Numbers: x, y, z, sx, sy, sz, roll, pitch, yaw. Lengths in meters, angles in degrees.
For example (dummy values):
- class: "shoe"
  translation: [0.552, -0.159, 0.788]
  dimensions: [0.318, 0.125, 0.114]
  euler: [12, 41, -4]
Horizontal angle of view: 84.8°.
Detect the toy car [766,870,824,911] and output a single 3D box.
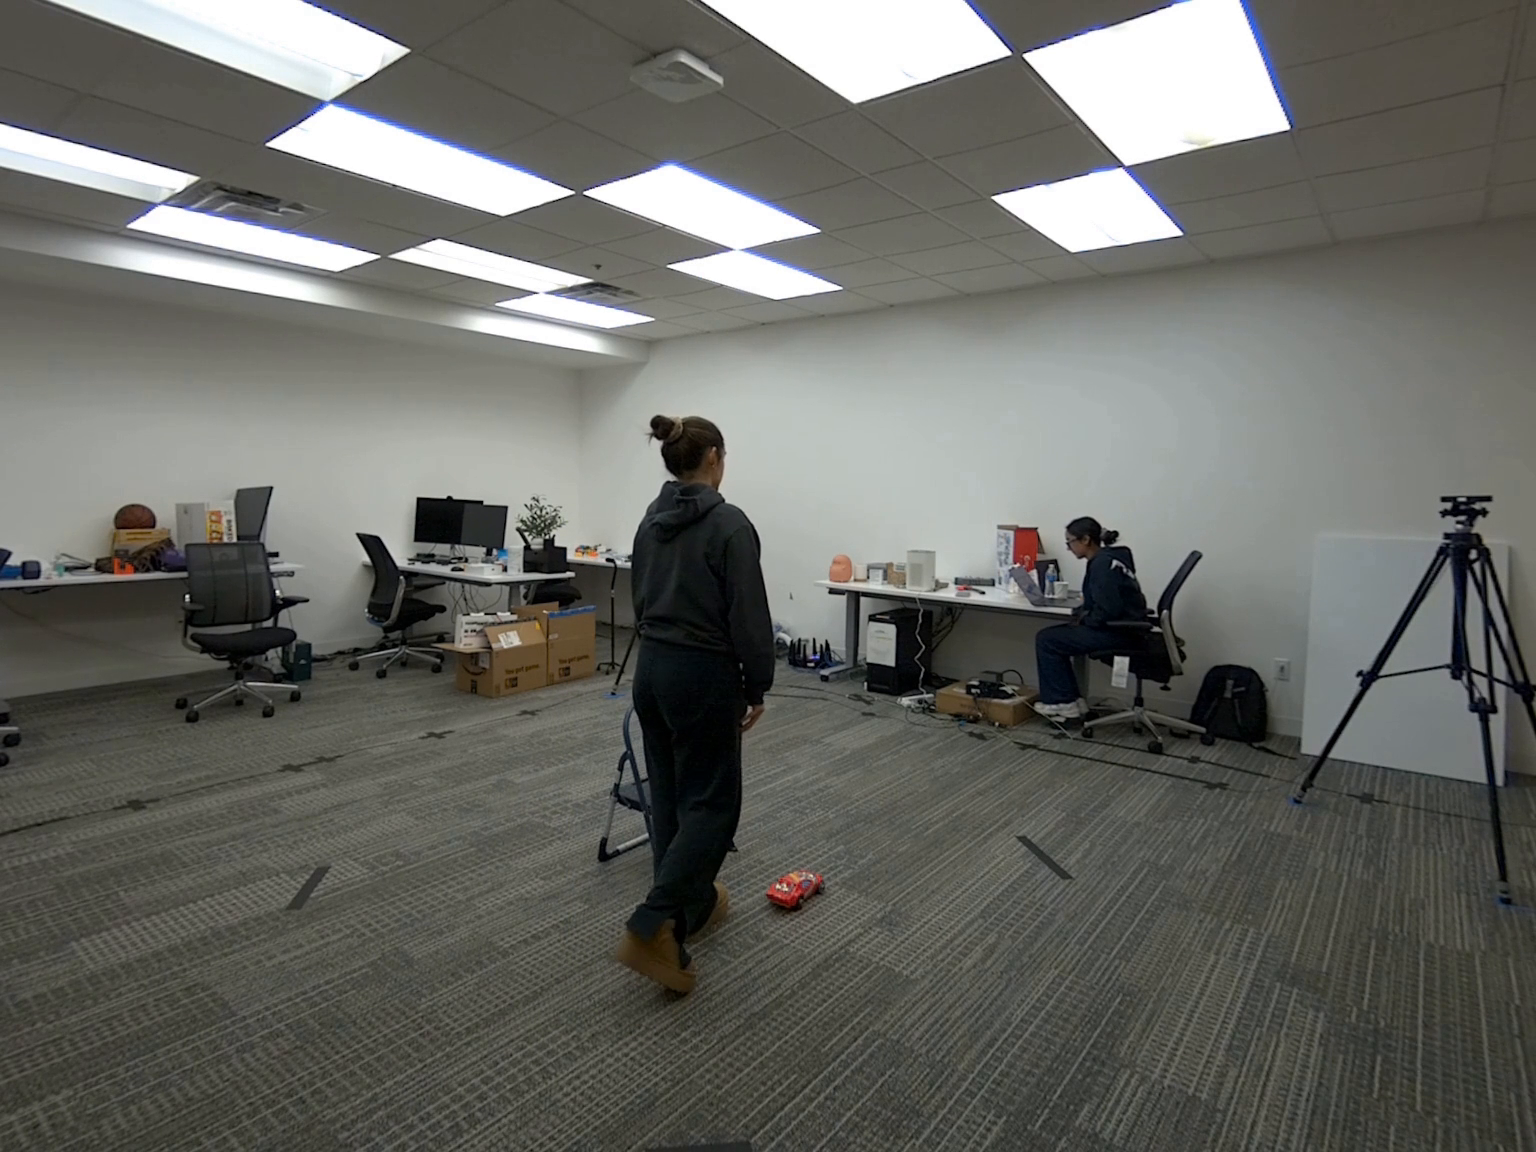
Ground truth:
- class: "toy car"
  translation: [0.093, 1.063, 2.888]
  dimensions: [0.134, 0.083, 0.245]
  euler: [5, -4, 34]
